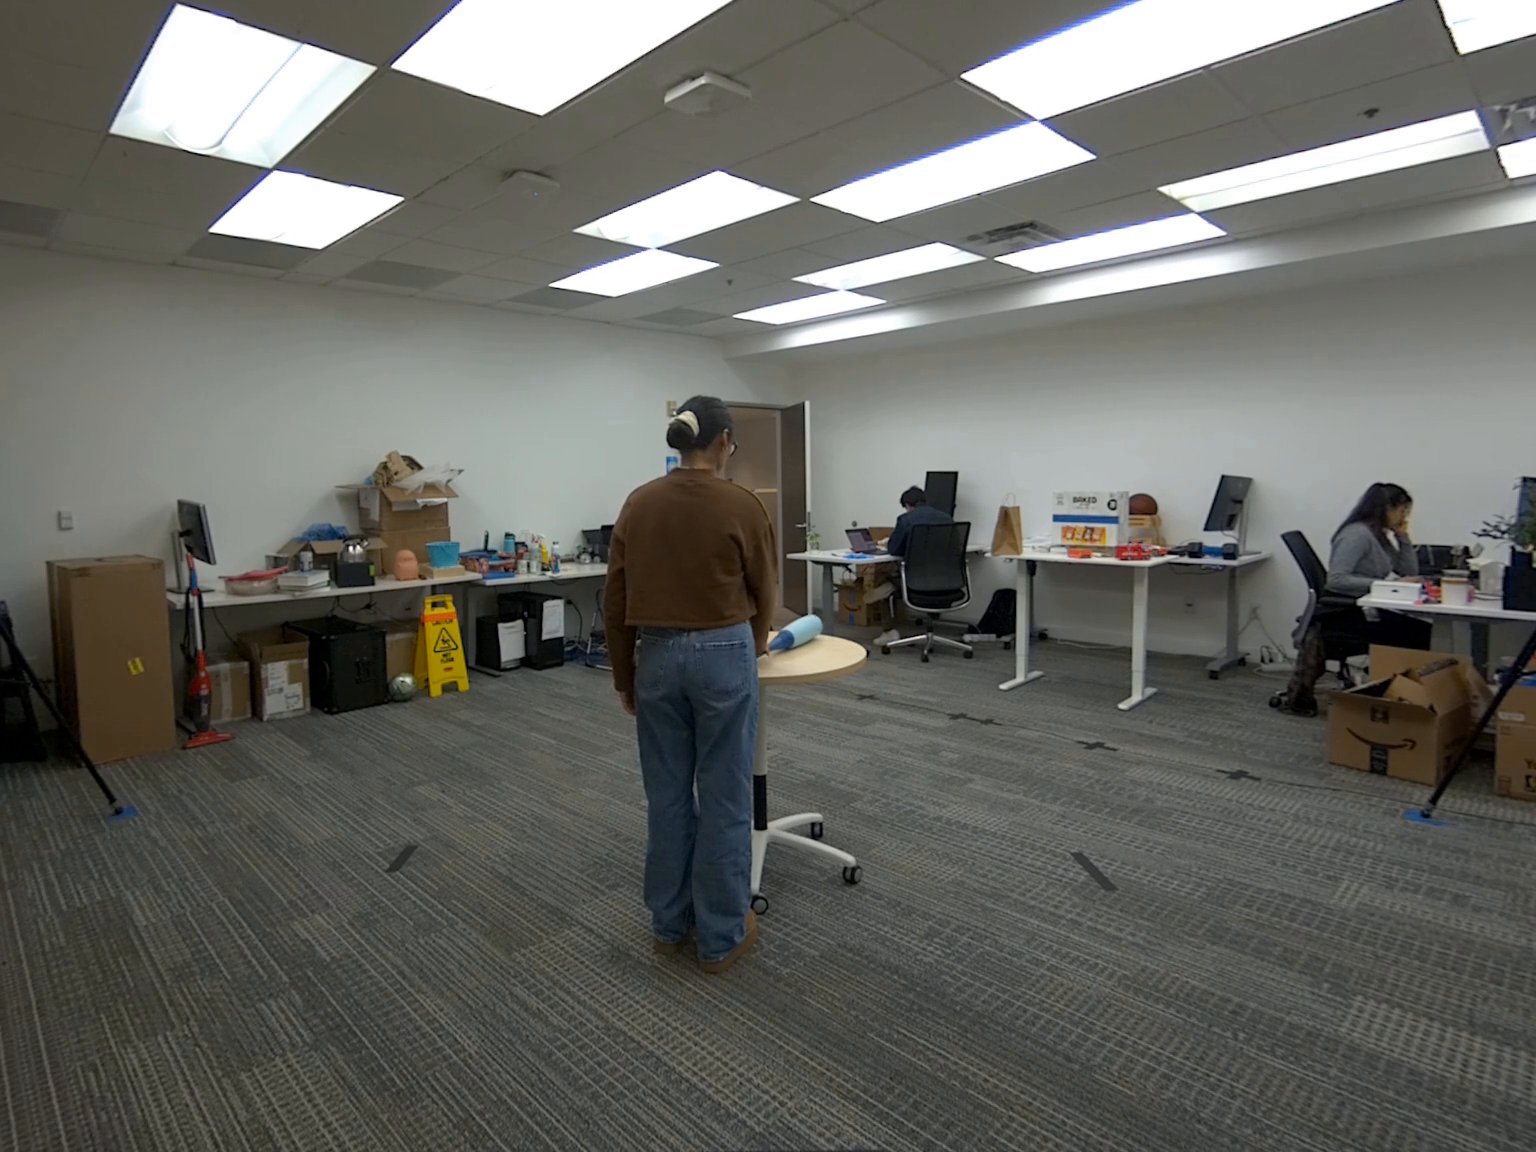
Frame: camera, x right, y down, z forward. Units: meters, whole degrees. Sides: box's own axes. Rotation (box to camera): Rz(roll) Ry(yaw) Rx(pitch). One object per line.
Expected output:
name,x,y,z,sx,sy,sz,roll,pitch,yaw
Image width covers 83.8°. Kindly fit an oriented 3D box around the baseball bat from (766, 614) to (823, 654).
baseball bat,0.060,0.234,3.024,0.091,0.088,0.534,1,10,26
